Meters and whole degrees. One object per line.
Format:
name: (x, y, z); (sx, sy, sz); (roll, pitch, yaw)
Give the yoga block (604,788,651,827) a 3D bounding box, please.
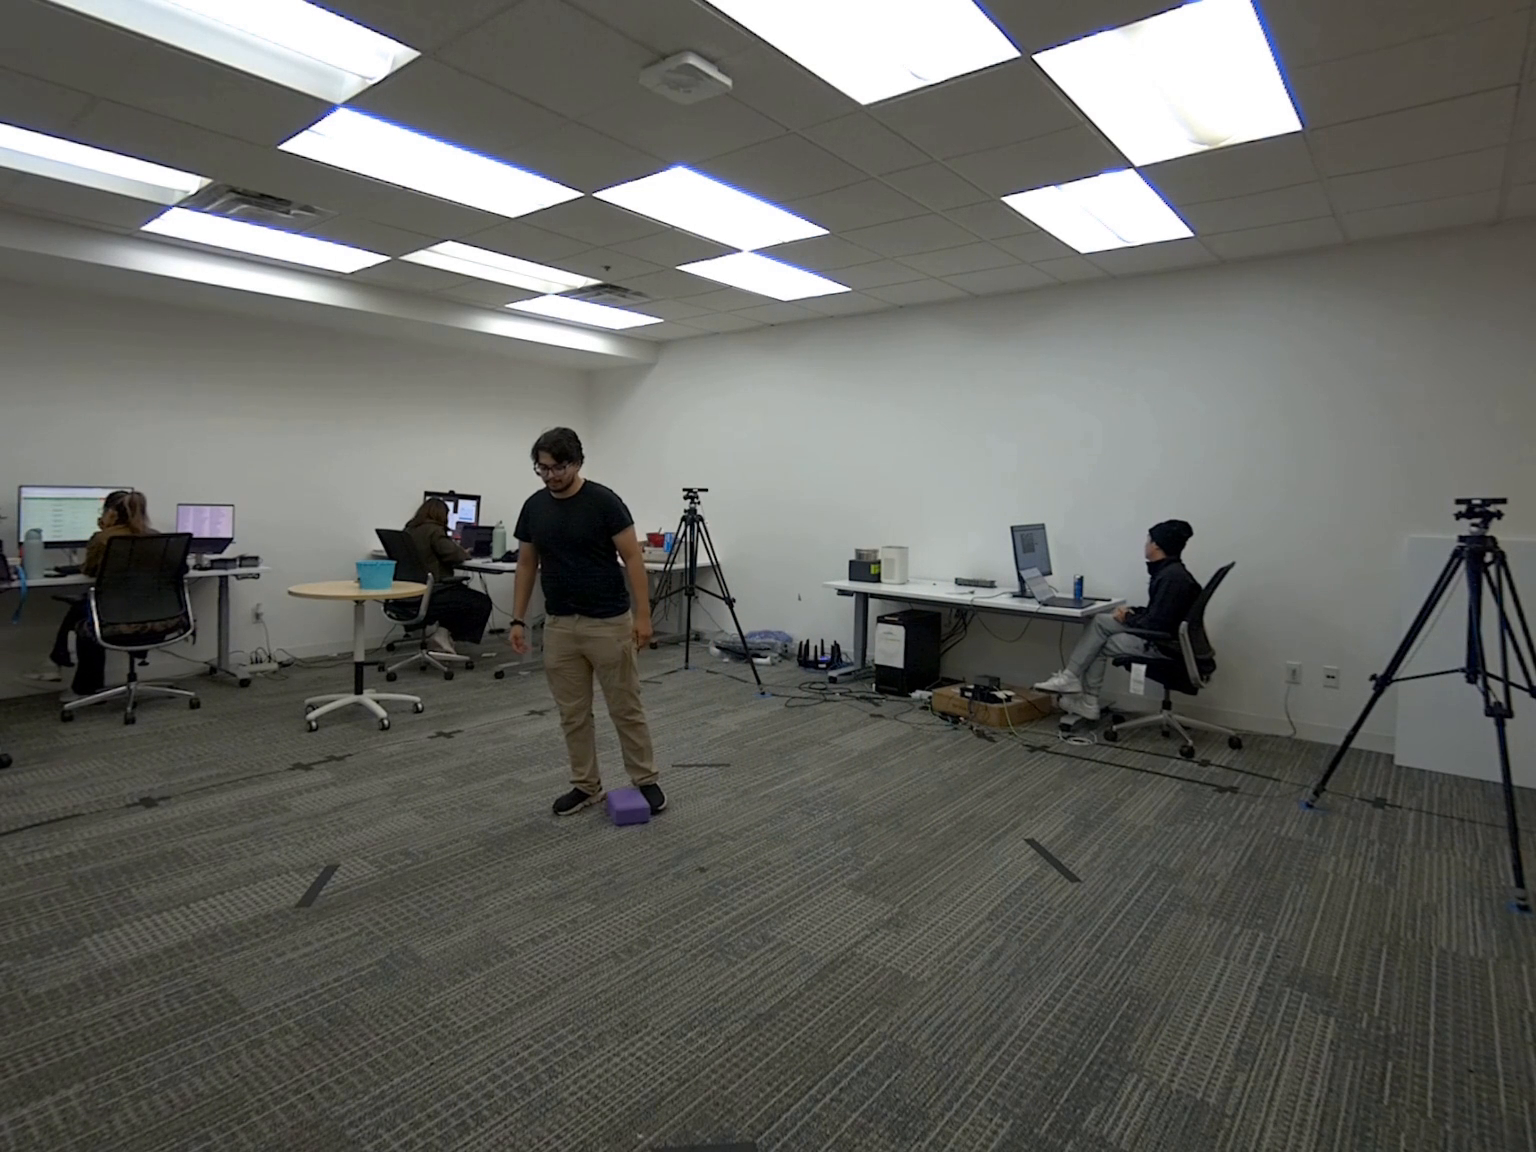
yoga block: (-0.616, 0.978, 3.614); (0.146, 0.076, 0.235); (-2, 7, -20)
